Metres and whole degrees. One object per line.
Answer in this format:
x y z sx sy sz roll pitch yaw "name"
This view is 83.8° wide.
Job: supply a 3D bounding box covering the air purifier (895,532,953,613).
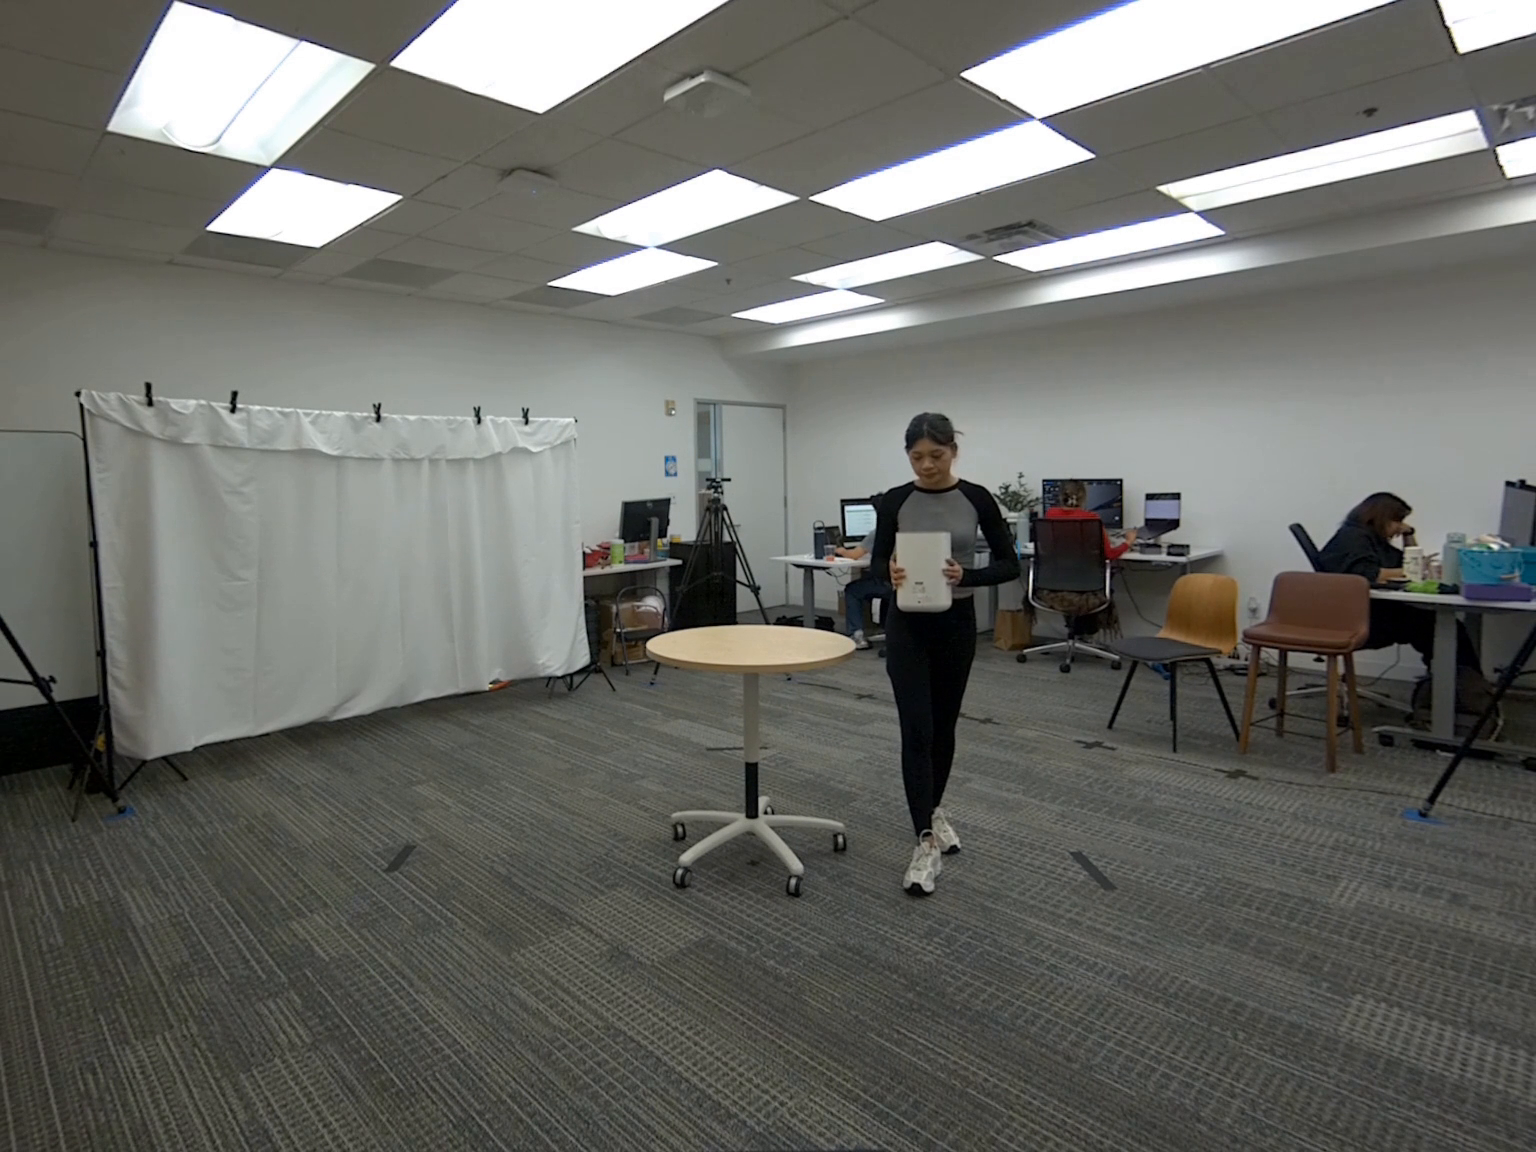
0.515 -0.014 2.882 0.174 0.266 0.168 0 -1 22 "air purifier"
